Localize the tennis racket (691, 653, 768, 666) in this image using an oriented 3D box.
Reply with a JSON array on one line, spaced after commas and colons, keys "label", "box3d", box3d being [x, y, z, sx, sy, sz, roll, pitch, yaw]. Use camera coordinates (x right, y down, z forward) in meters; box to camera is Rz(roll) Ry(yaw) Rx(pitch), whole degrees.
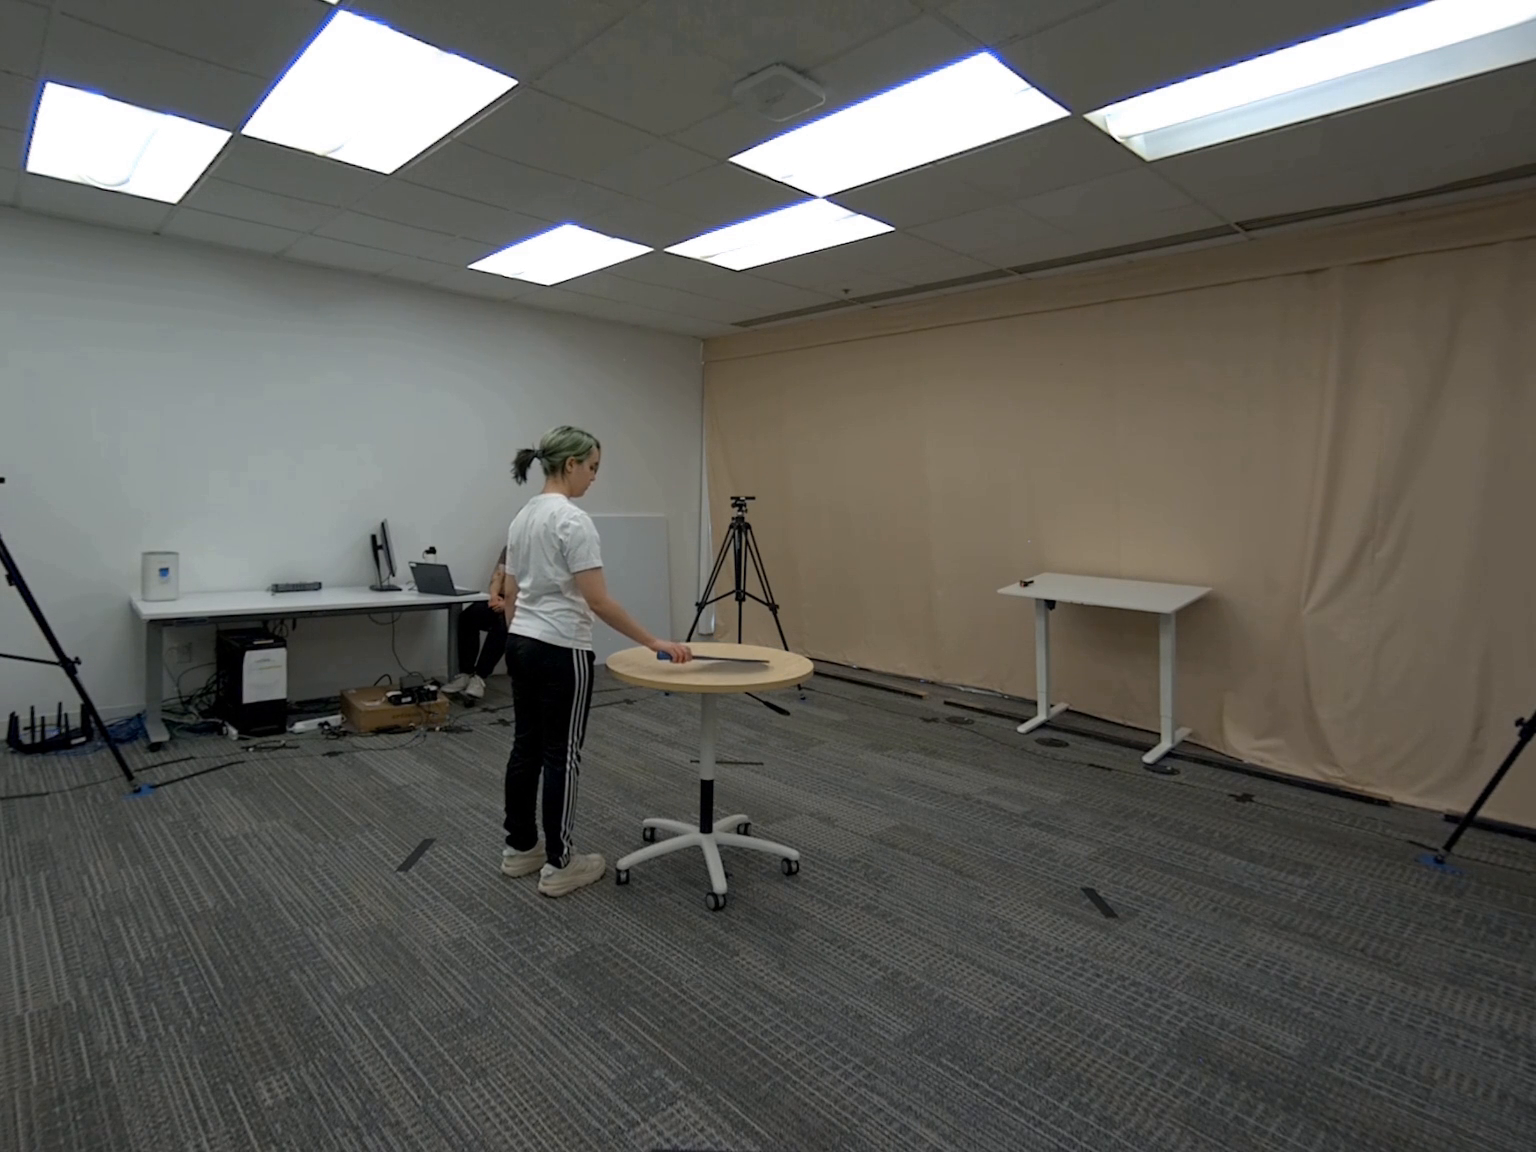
[{"label": "tennis racket", "box3d": [-0.201, 0.295, 2.992, 0.425, 0.032, 0.216, 5, -7, -24]}]
